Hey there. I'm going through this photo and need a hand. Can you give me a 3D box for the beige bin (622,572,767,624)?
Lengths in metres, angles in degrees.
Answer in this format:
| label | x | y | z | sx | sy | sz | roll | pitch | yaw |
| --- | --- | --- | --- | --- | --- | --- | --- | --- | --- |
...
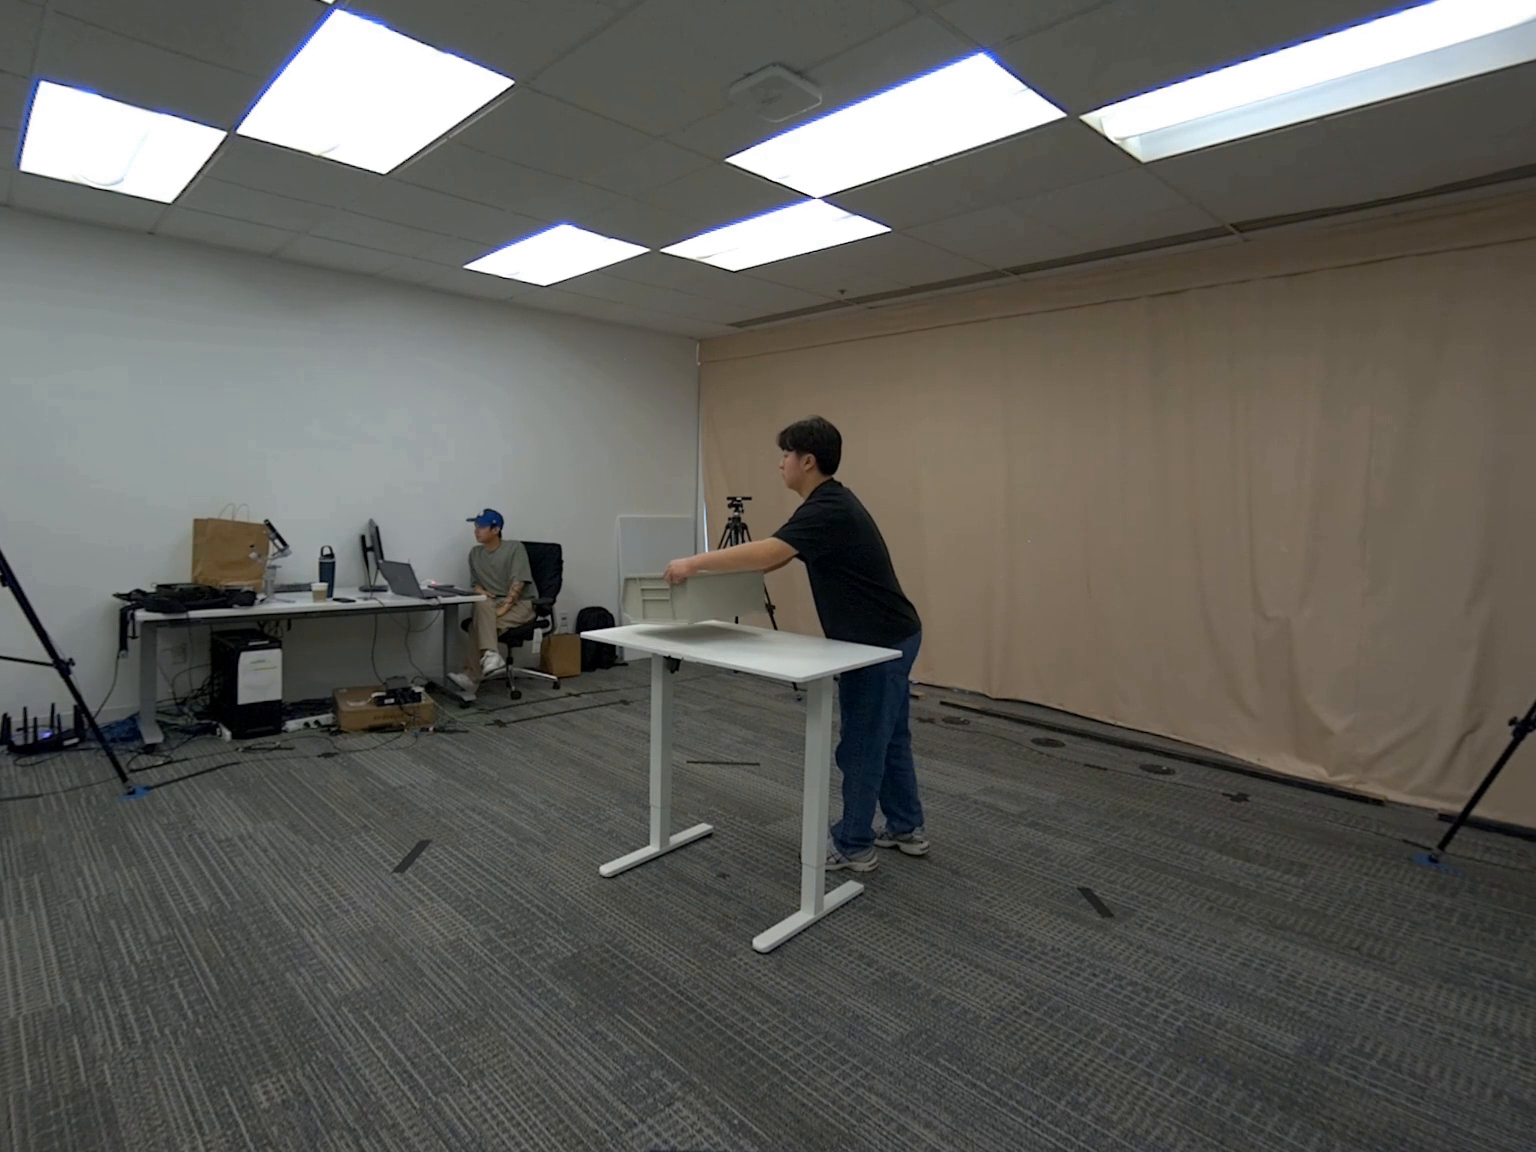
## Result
| label | x | y | z | sx | sy | sz | roll | pitch | yaw |
| --- | --- | --- | --- | --- | --- | --- | --- | --- | --- |
| beige bin | -0.272 | 0.067 | 3.128 | 0.386 | 0.189 | 0.413 | 1 | 4 | 45 |
